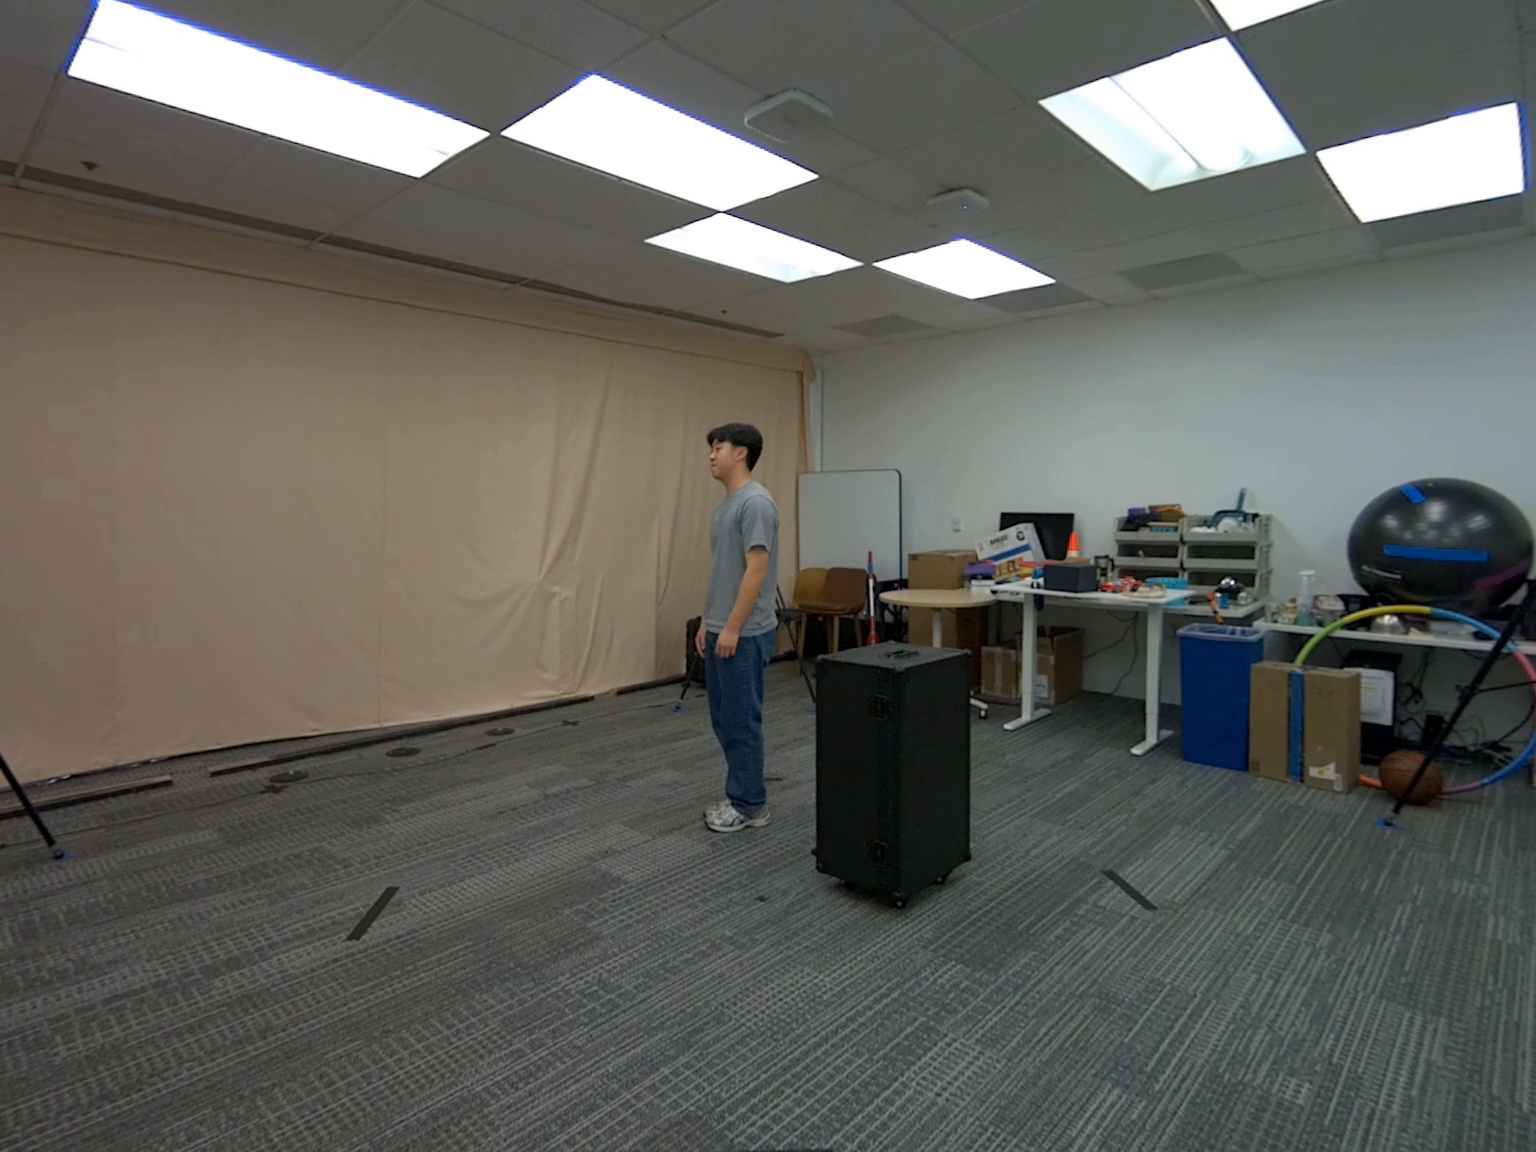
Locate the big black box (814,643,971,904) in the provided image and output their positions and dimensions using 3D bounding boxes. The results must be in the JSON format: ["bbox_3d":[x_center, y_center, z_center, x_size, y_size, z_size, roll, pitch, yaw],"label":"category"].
[{"bbox_3d":[0.457,0.709,3.085,0.409,0.860,0.505,1,3,43],"label":"big black box"}]
